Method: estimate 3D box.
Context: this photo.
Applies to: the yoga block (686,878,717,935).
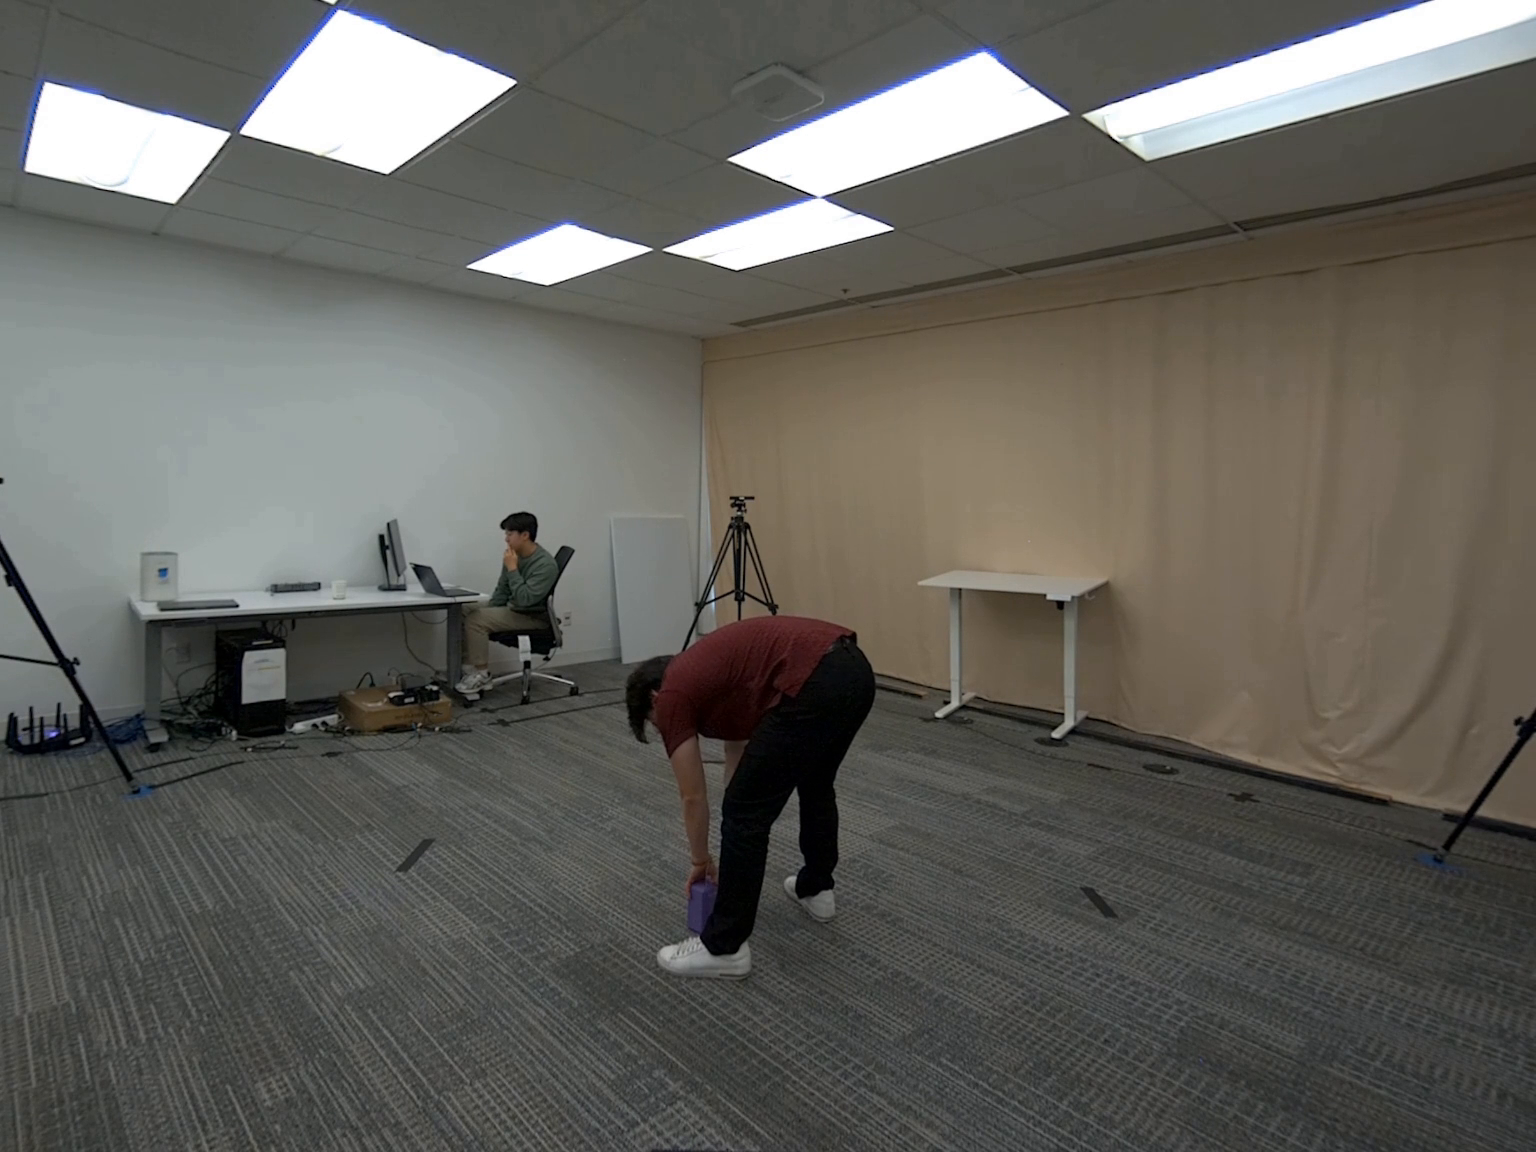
[{"bbox_3d":[-0.166,1.066,2.766,0.078,0.148,0.224,9,8,34],"label":"yoga block"}]
